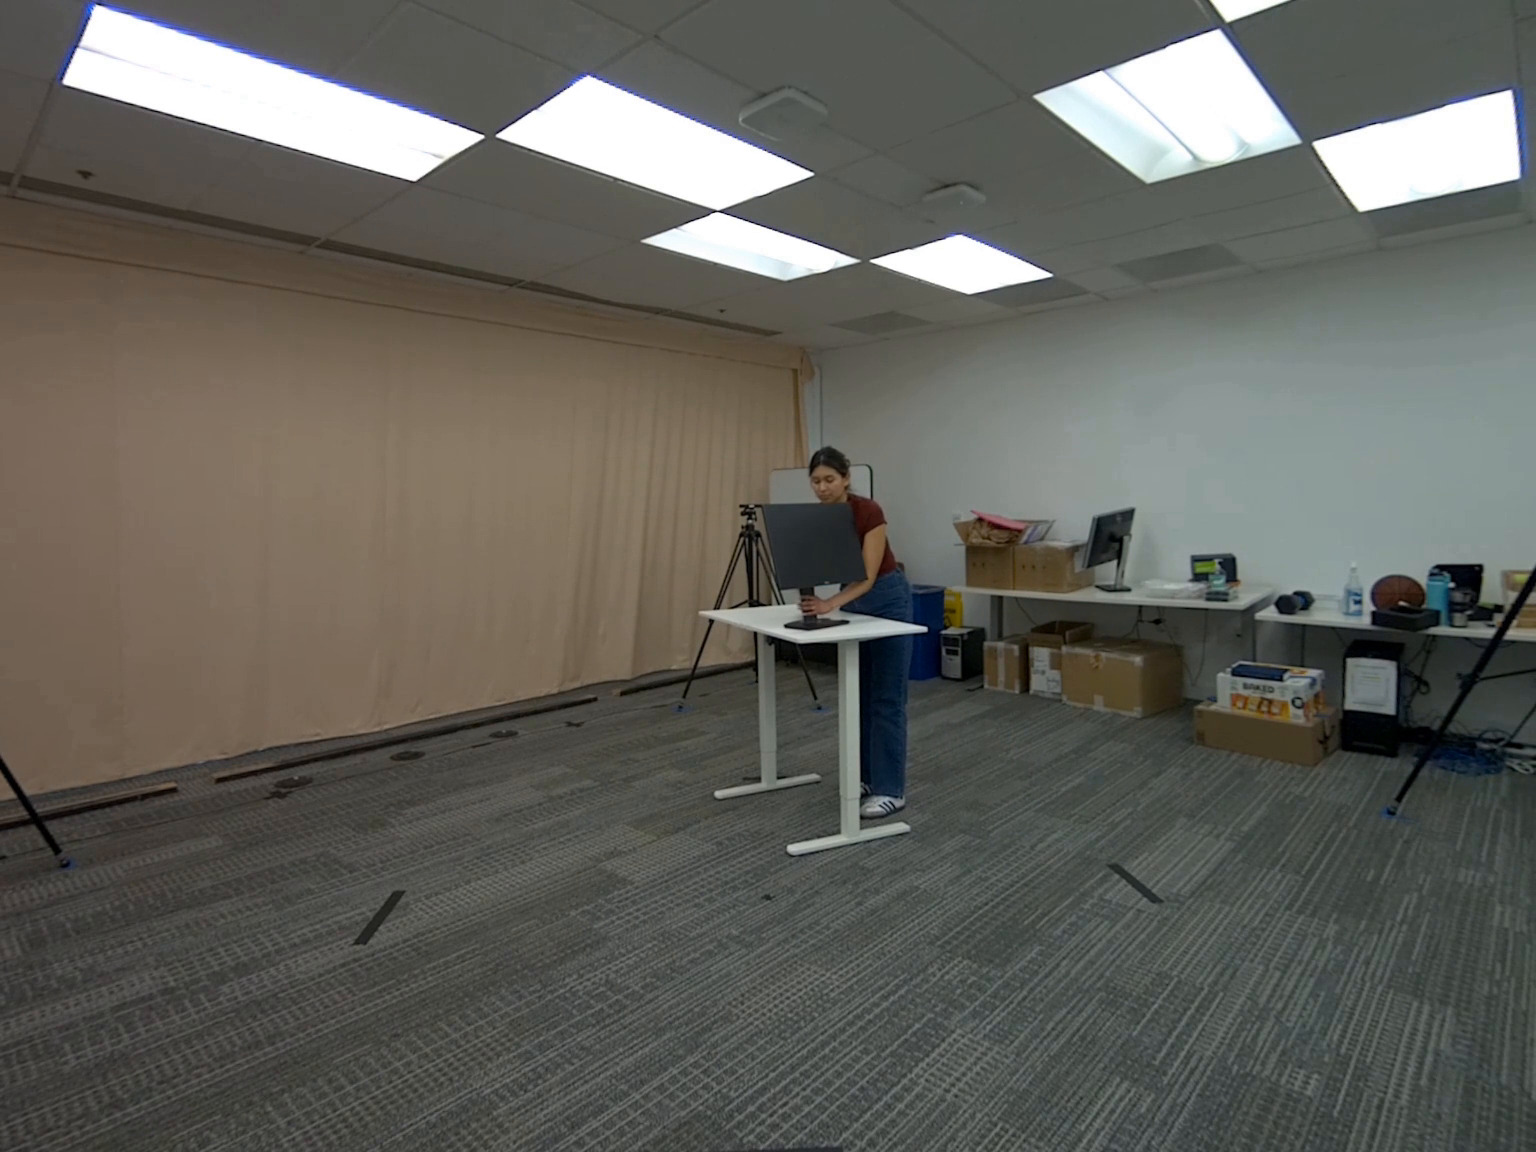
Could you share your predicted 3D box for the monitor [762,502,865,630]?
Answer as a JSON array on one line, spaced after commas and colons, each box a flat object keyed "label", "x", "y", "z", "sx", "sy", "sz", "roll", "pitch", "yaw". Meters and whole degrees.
[{"label": "monitor", "x": 0.189, "y": -0.043, "z": 3.532, "sx": 0.523, "sy": 0.522, "sz": 0.193, "roll": -4, "pitch": 1, "yaw": -44}]
